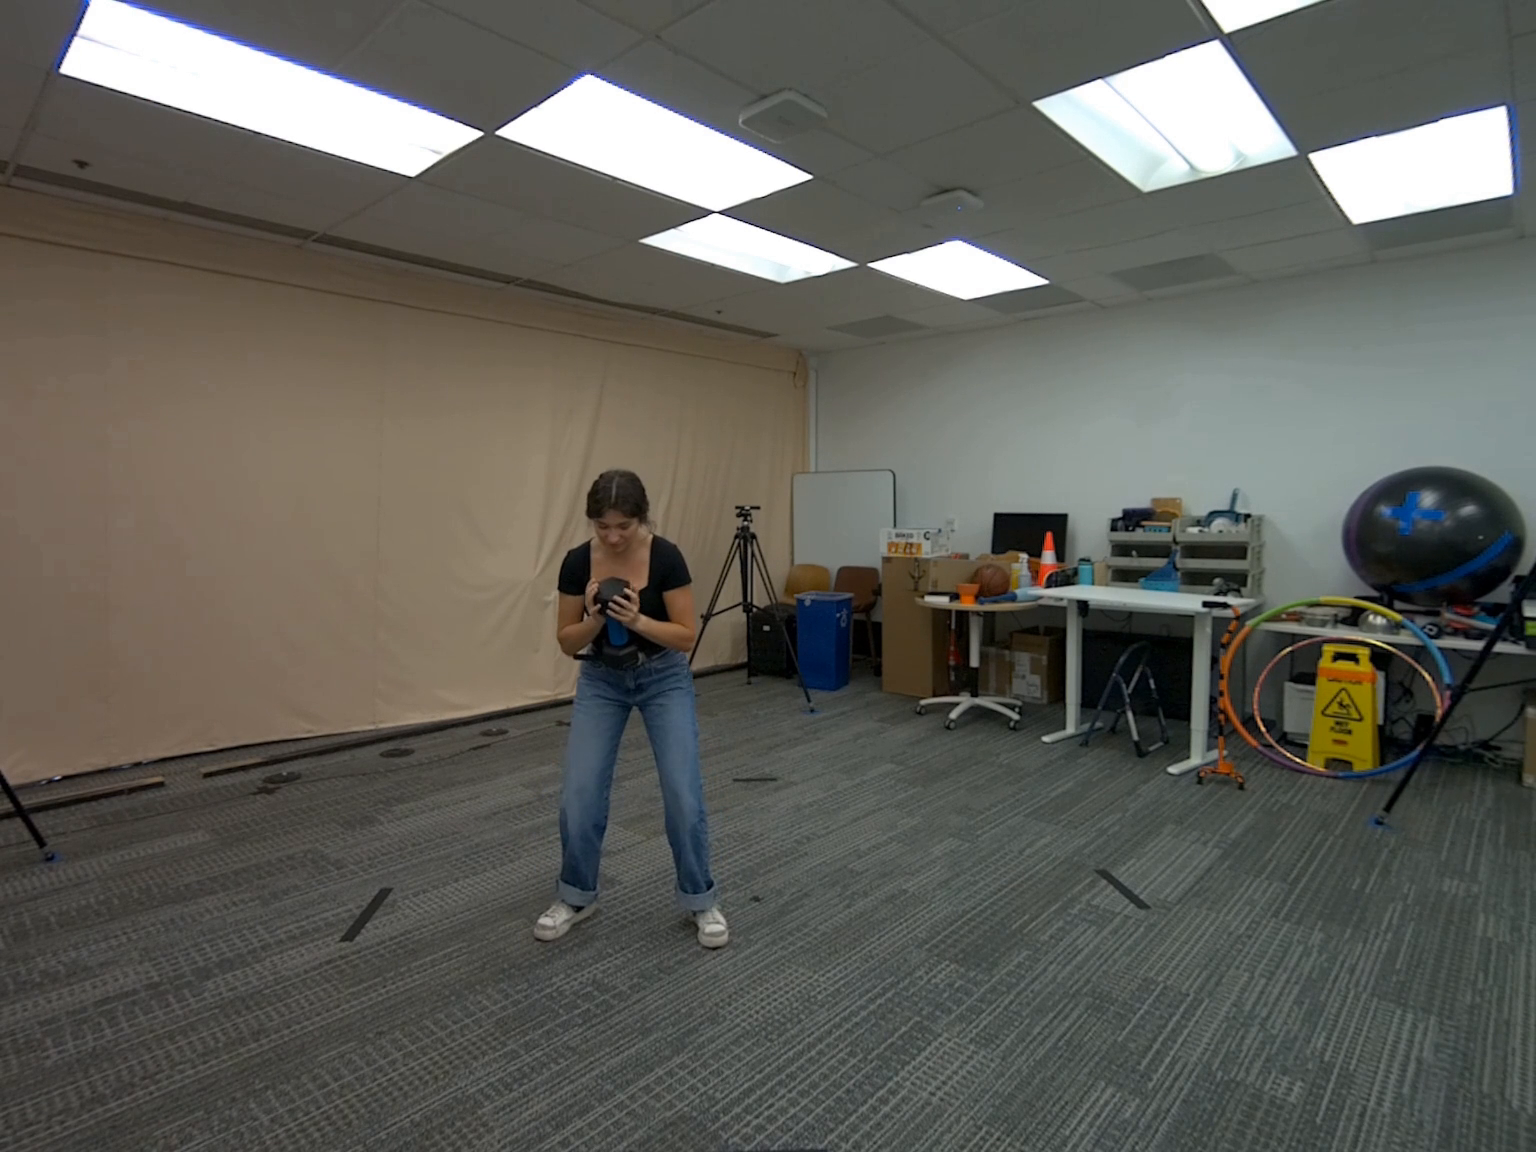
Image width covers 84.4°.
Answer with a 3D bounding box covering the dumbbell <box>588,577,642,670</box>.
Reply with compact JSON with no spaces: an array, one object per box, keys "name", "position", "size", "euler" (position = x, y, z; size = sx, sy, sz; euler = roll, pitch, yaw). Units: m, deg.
[{"name":"dumbbell","position":[-0.457,0.168,2.602],"size":[0.120,0.289,0.113],"euler":[-20,41,-31]}]
